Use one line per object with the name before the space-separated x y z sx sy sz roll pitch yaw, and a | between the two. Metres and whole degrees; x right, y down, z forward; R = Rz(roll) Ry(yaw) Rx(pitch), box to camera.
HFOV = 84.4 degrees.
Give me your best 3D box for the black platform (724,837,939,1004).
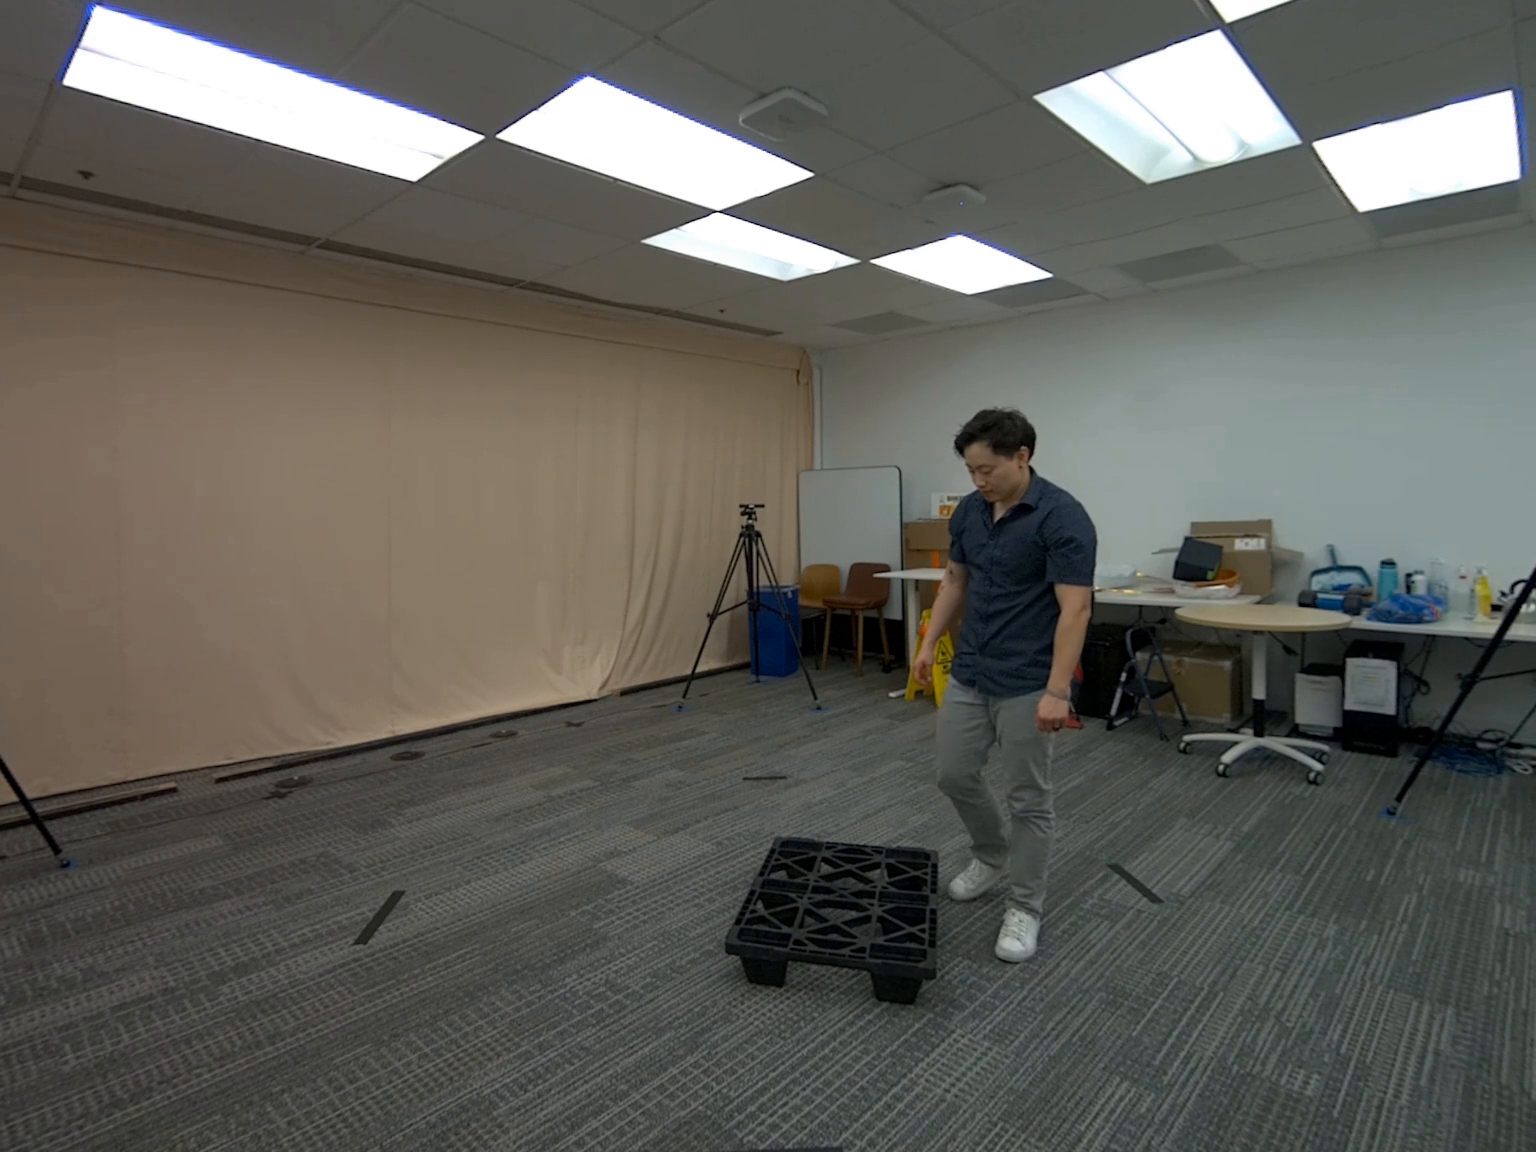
black platform | 0.251 1.088 2.740 0.614 0.143 0.796 1 5 13
